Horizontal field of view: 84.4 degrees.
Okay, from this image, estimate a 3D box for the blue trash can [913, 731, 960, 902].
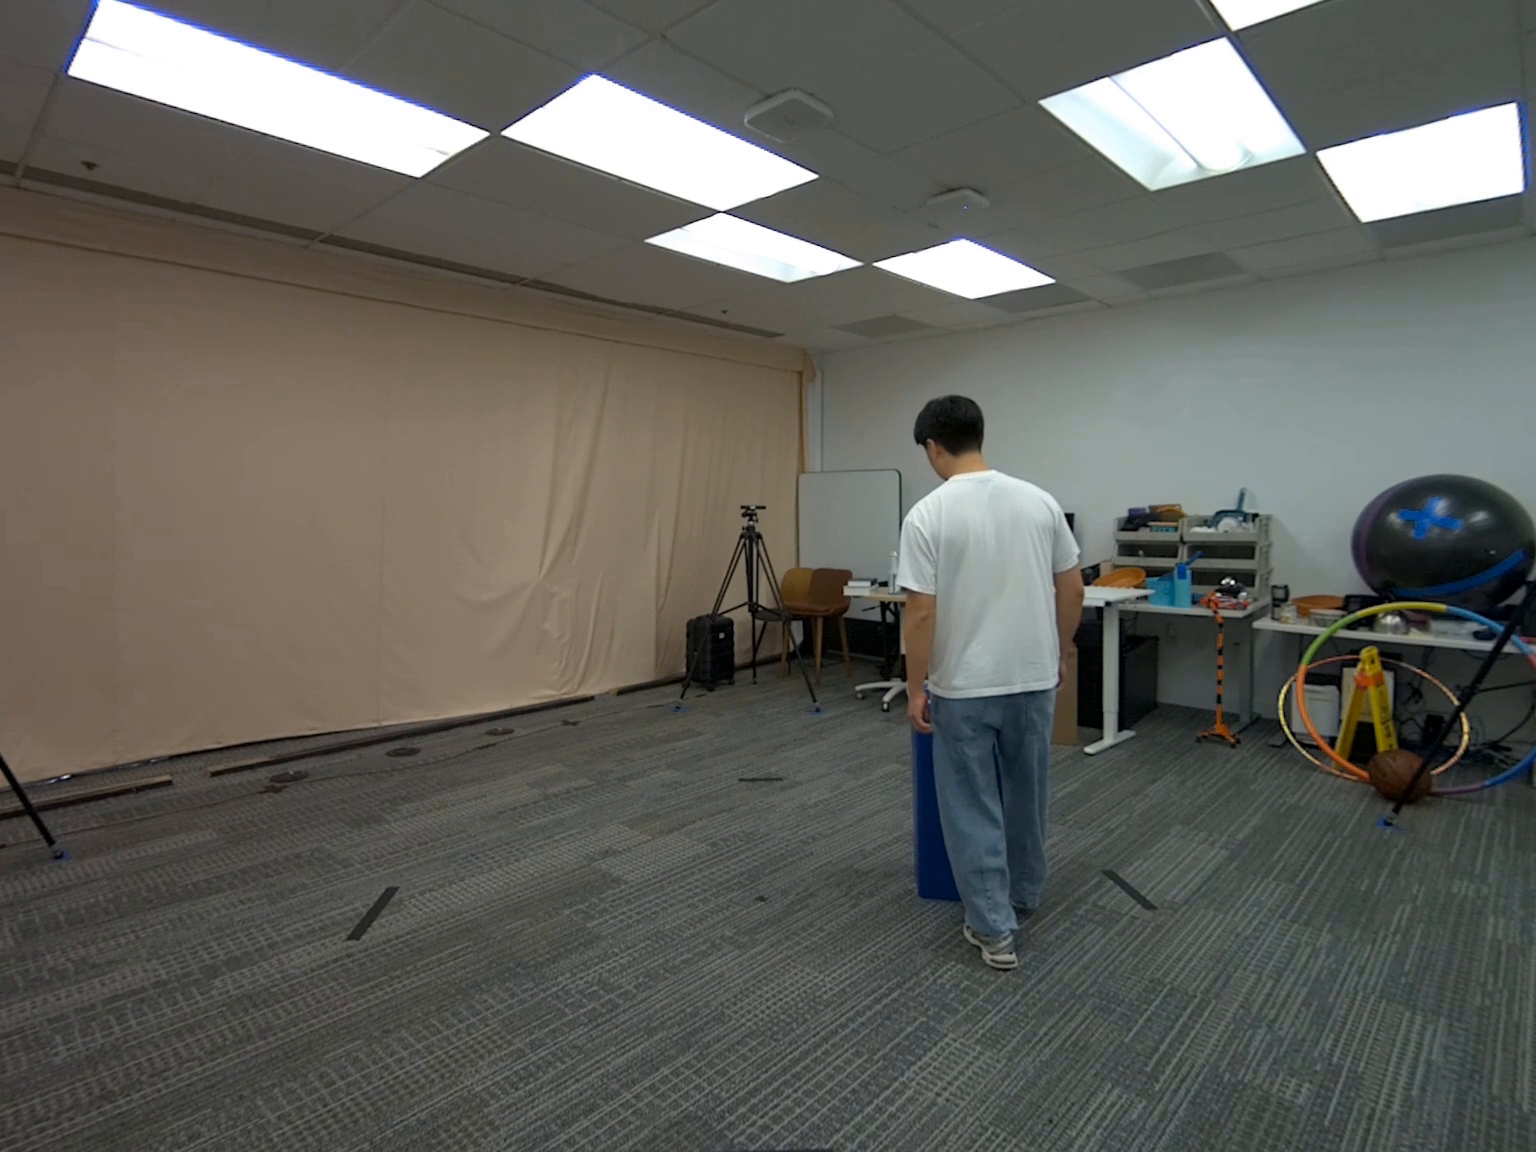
[{"bbox_3d":[0.707,0.774,3.076,0.382,0.712,0.371,0,3,9],"label":"blue trash can"}]
